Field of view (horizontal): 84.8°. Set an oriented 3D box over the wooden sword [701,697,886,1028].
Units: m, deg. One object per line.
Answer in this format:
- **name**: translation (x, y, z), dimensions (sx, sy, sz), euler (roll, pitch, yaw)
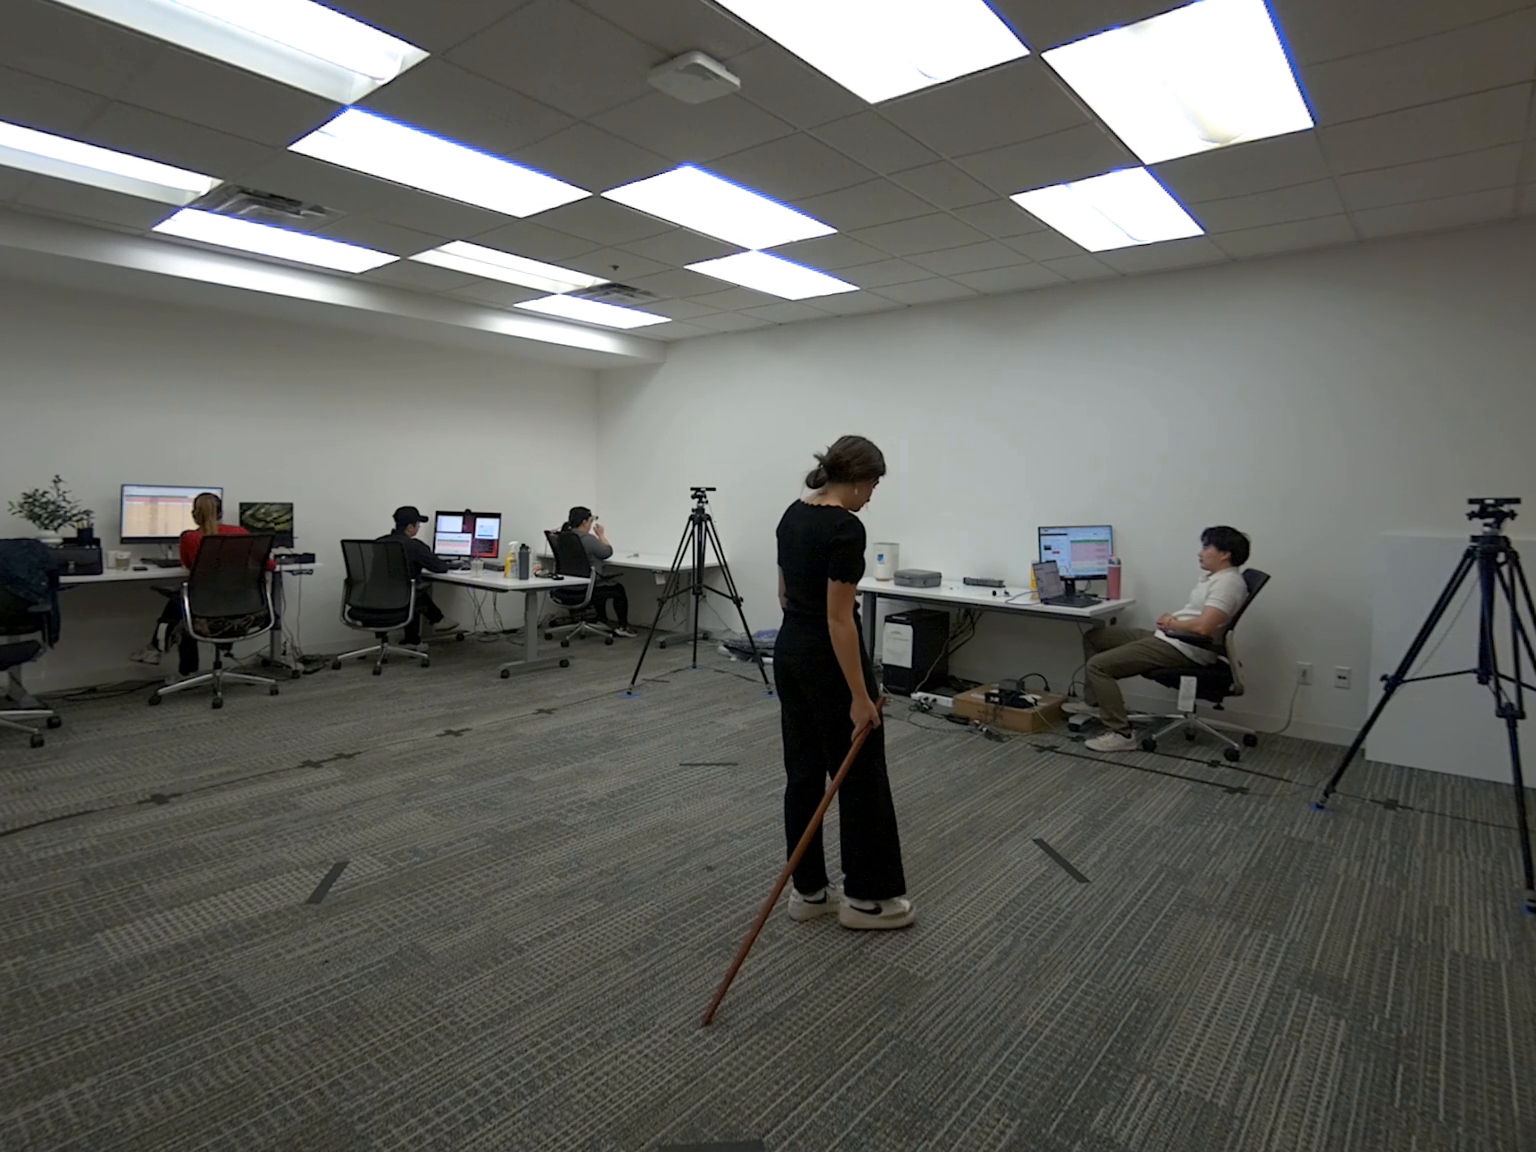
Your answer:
- **wooden sword**: translation (0.087, 0.780, 2.412), dimensions (0.024, 1.027, 0.051), euler (35, -24, 4)
